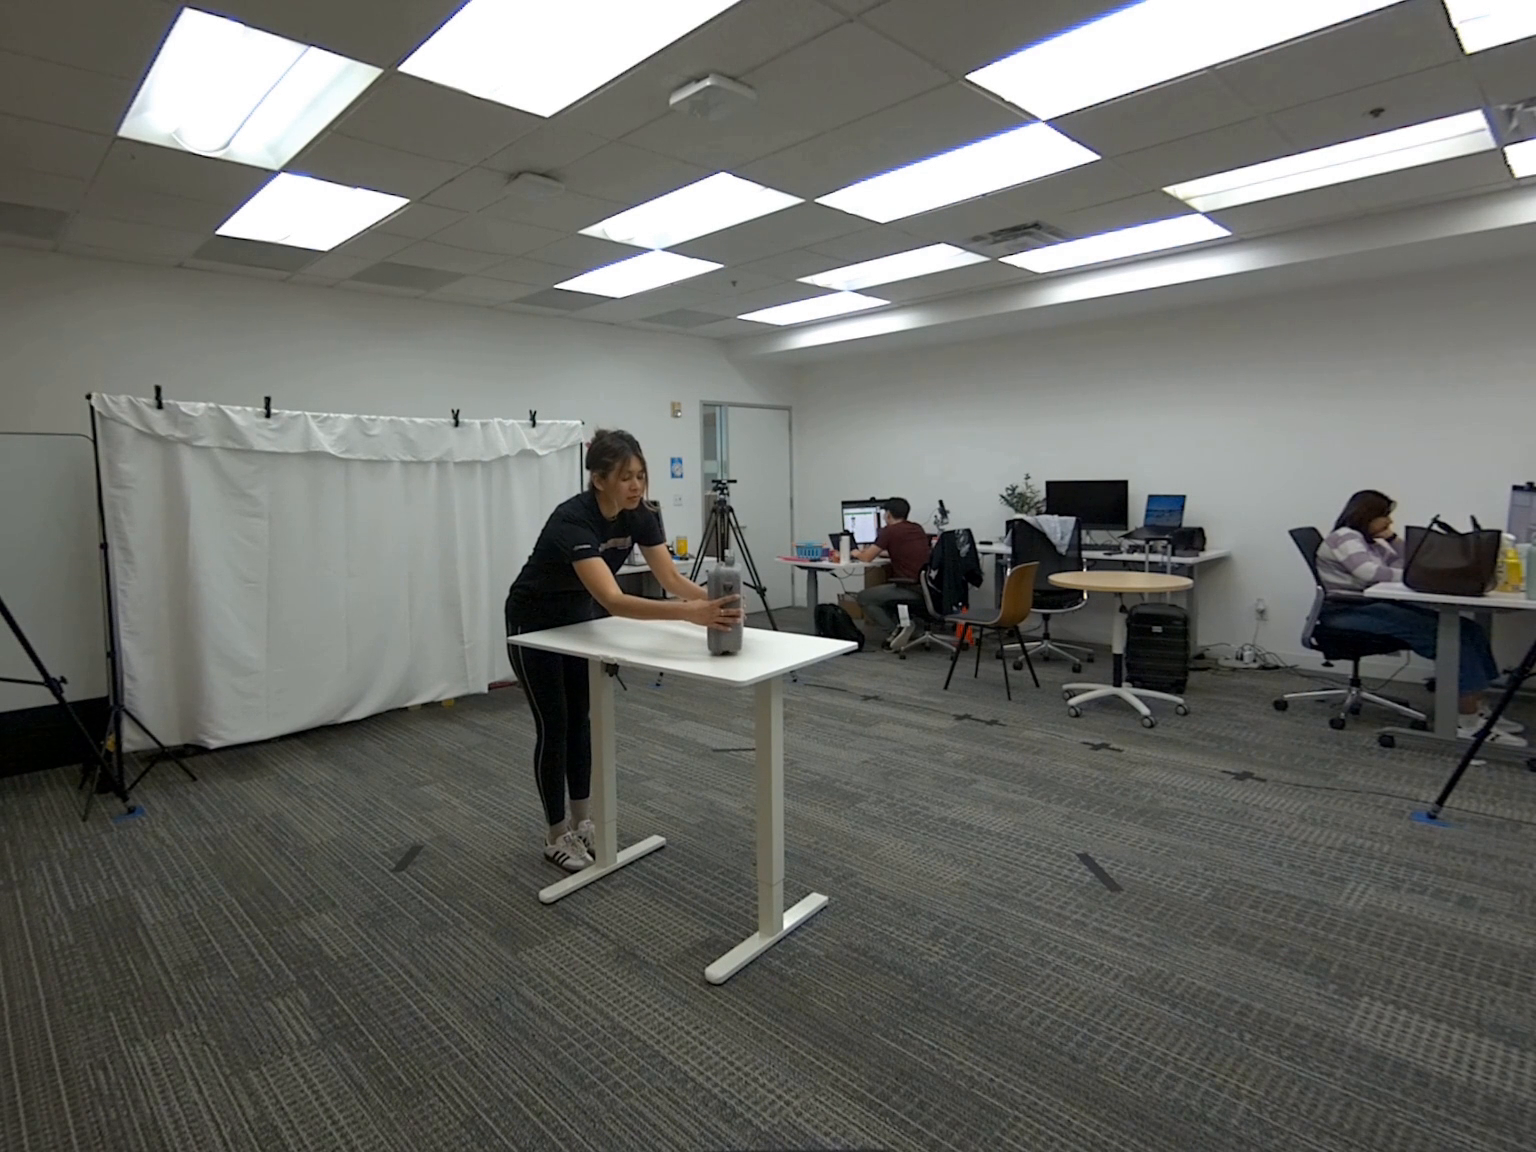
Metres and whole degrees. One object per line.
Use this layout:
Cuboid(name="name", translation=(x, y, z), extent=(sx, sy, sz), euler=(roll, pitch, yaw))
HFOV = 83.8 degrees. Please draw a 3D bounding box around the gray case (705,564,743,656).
Cuboid(name="gray case", translation=(-0.124, 0.089, 2.617), extent=(0.104, 0.260, 0.258), euler=(-2, 4, -3))
